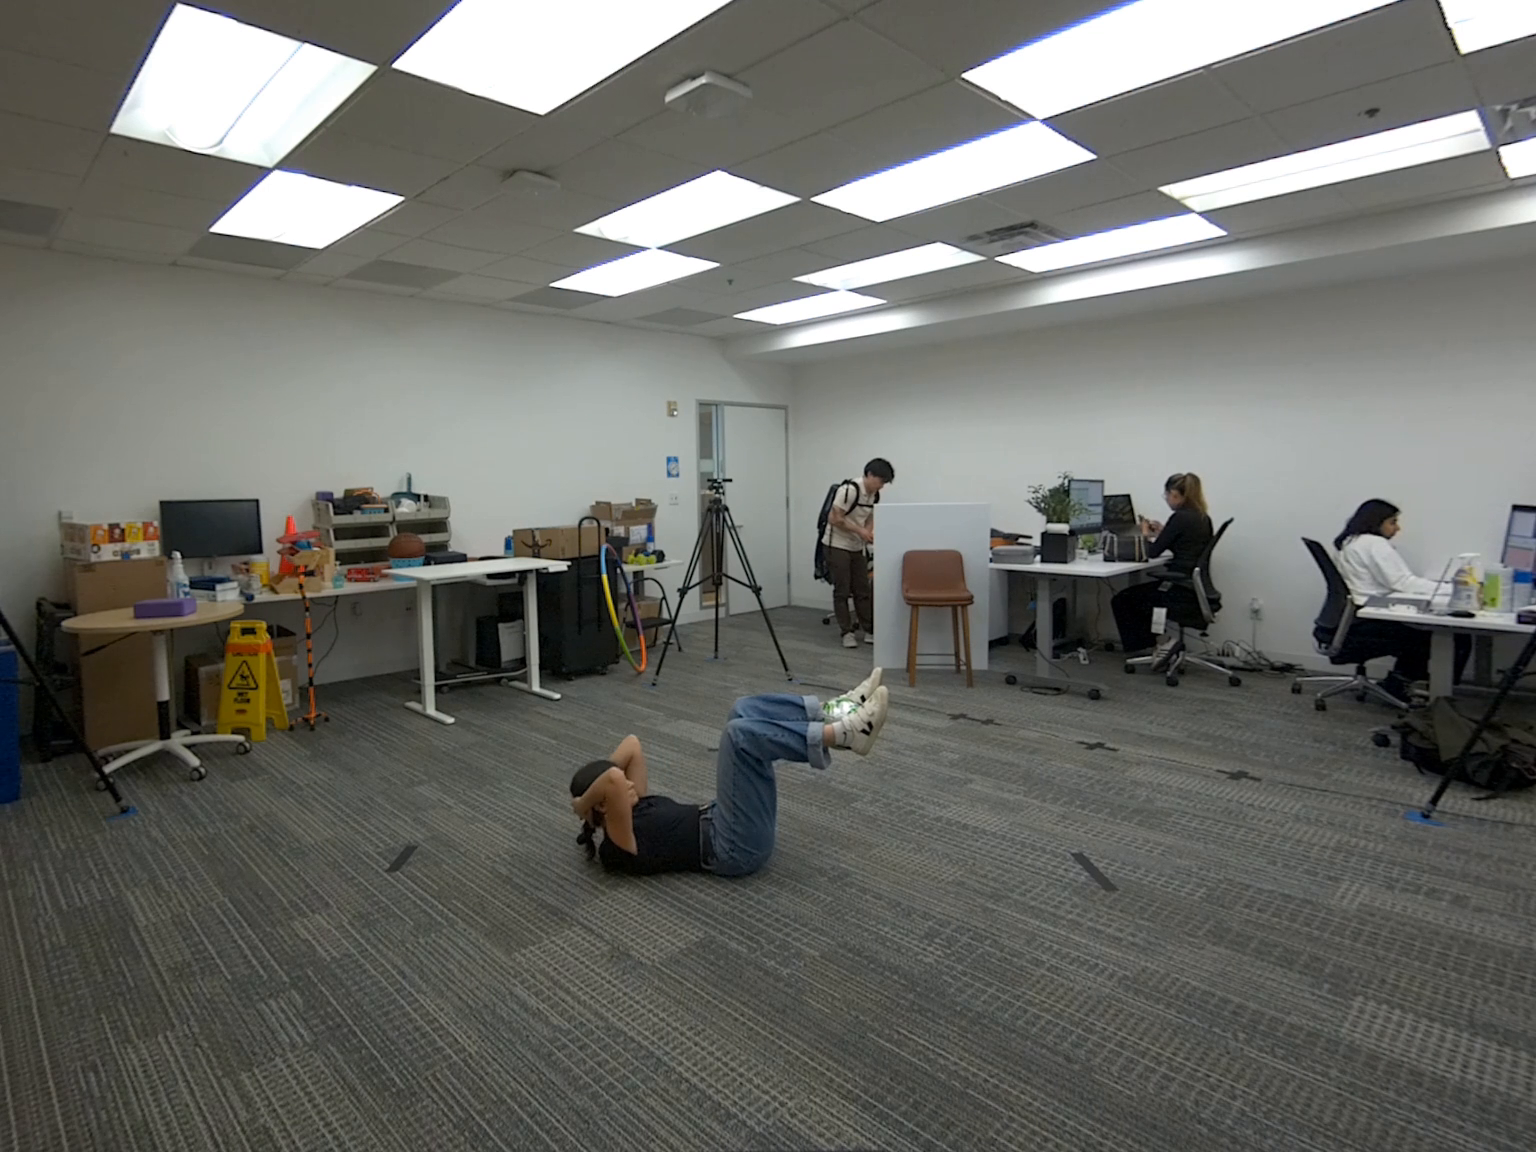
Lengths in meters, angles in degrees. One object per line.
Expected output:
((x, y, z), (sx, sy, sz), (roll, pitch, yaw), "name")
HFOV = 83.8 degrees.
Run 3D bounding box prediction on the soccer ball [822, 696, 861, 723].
((0.272, 0.535, 3.071), (0.187, 0.187, 0.188), (0, 1, -2), "soccer ball")
